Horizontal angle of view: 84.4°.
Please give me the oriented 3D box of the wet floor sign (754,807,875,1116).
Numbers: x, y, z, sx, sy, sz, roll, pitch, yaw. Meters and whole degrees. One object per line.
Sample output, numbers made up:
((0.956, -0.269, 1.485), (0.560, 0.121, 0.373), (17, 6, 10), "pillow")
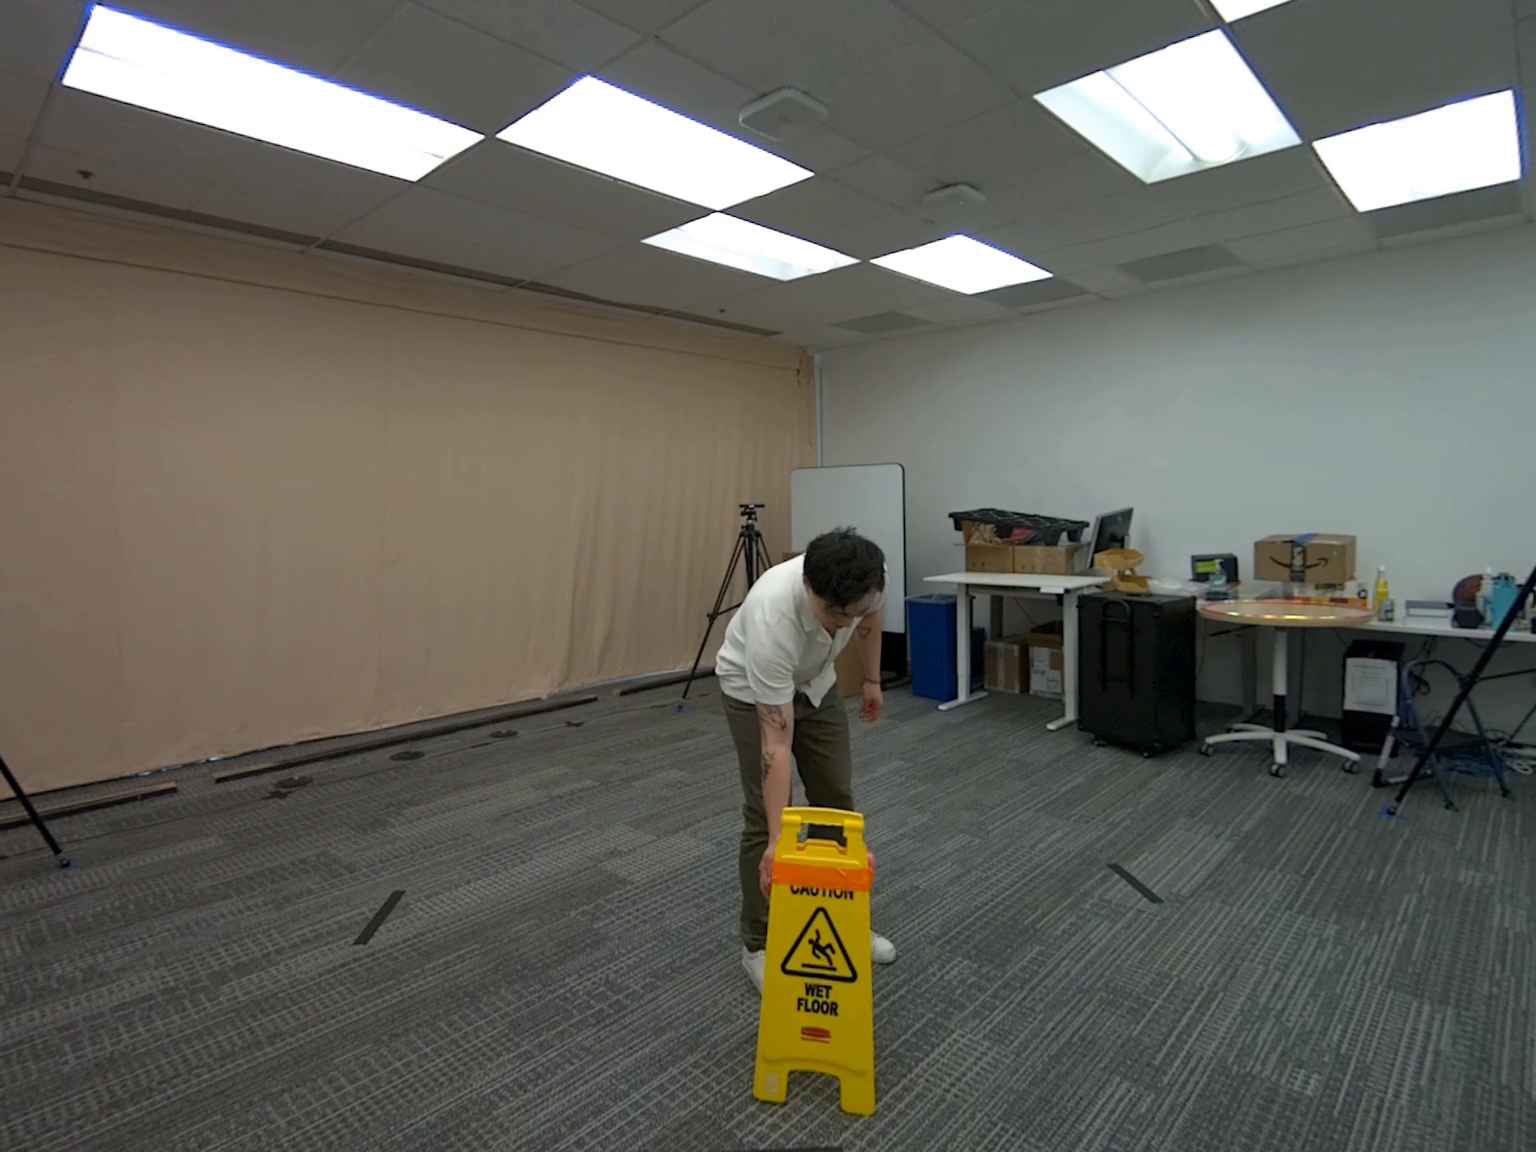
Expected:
((0.127, 0.883, 2.057), (0.285, 0.644, 0.288), (3, 4, 7), "wet floor sign")
